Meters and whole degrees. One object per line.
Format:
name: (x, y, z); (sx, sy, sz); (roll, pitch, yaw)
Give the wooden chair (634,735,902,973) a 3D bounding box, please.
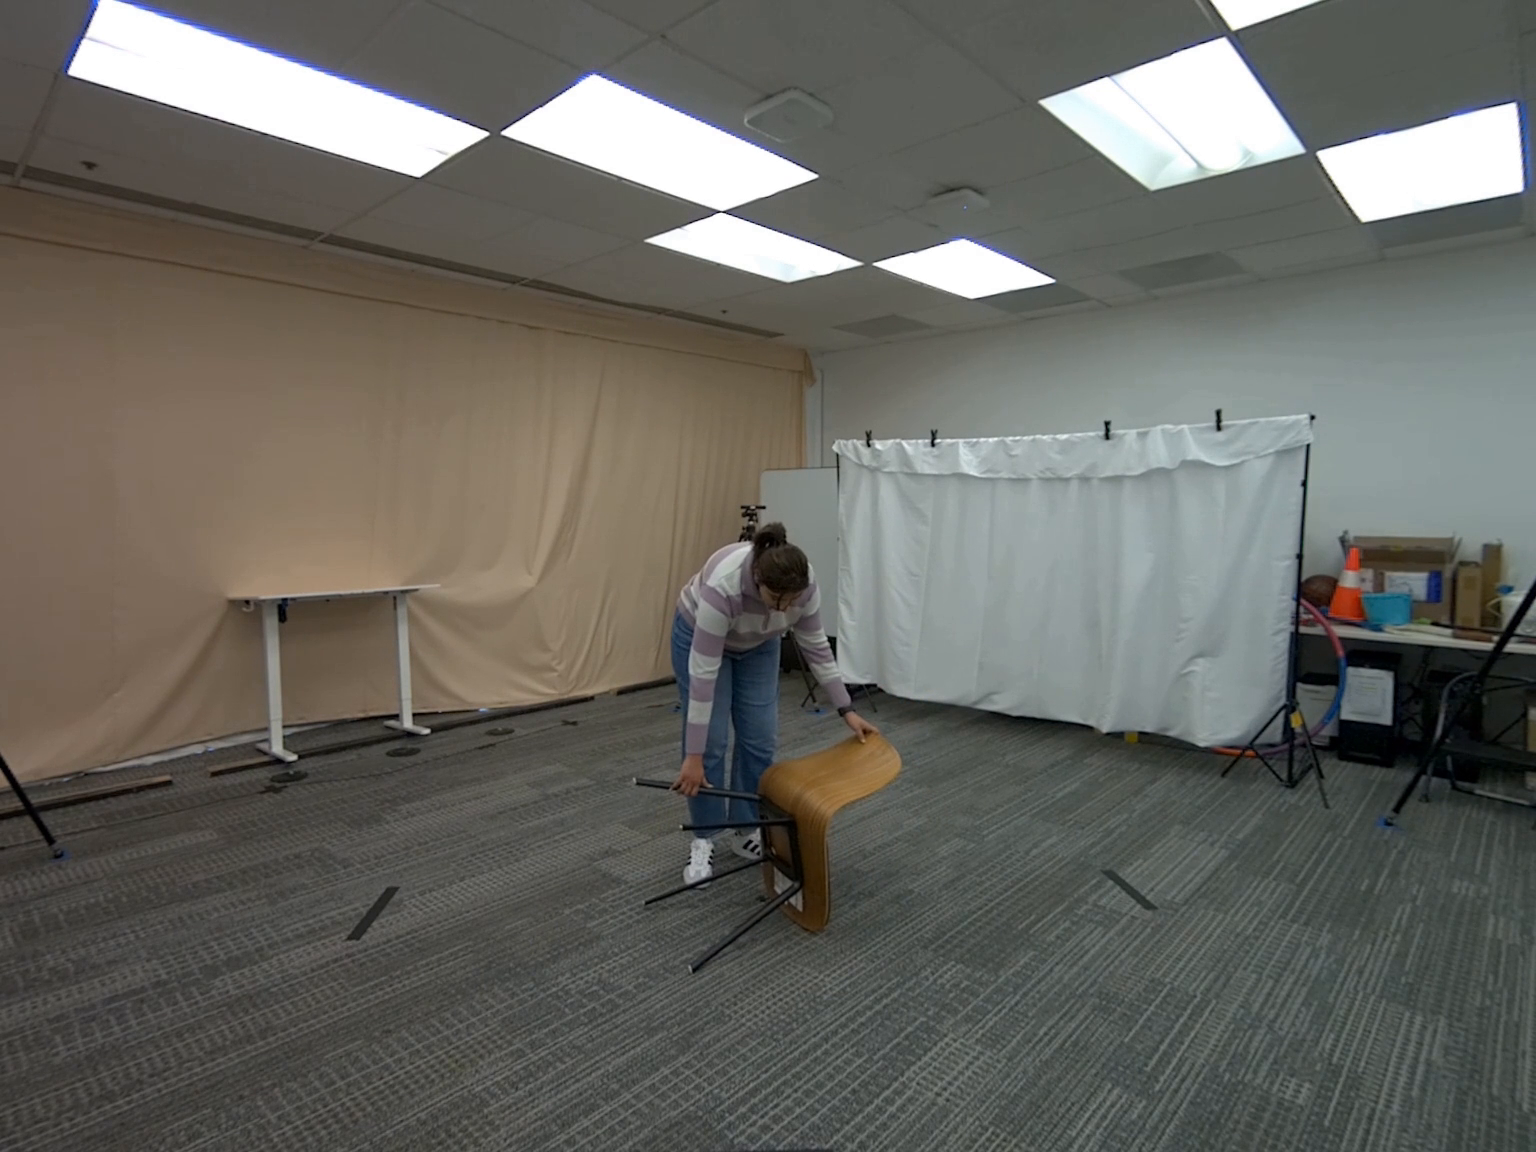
wooden chair: (0.047, 0.892, 2.853); (0.859, 0.520, 0.491); (-11, 9, -25)
